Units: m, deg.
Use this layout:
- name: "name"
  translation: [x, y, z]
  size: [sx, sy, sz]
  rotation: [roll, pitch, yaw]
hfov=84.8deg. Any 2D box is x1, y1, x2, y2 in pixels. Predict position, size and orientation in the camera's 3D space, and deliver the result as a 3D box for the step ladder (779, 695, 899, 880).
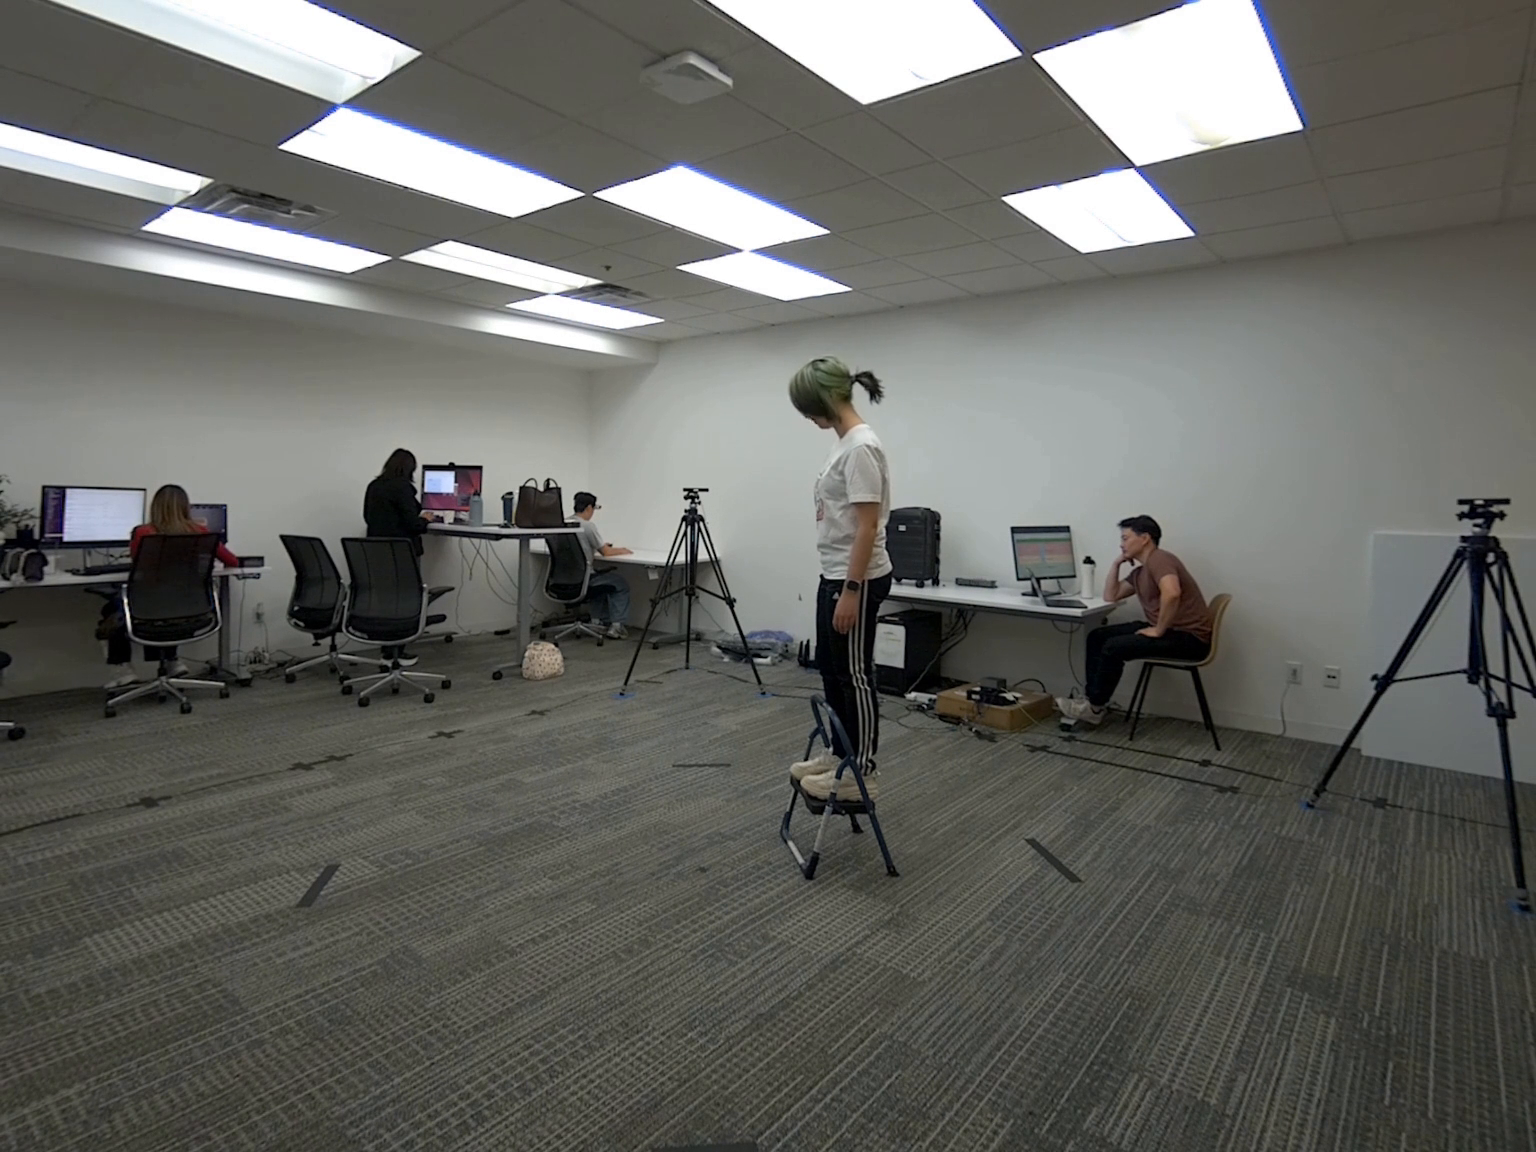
- name: "step ladder"
  translation: [0.259, 0.766, 3.256]
  size: [0.345, 0.605, 0.437]
  rotation: [2, 3, -12]
